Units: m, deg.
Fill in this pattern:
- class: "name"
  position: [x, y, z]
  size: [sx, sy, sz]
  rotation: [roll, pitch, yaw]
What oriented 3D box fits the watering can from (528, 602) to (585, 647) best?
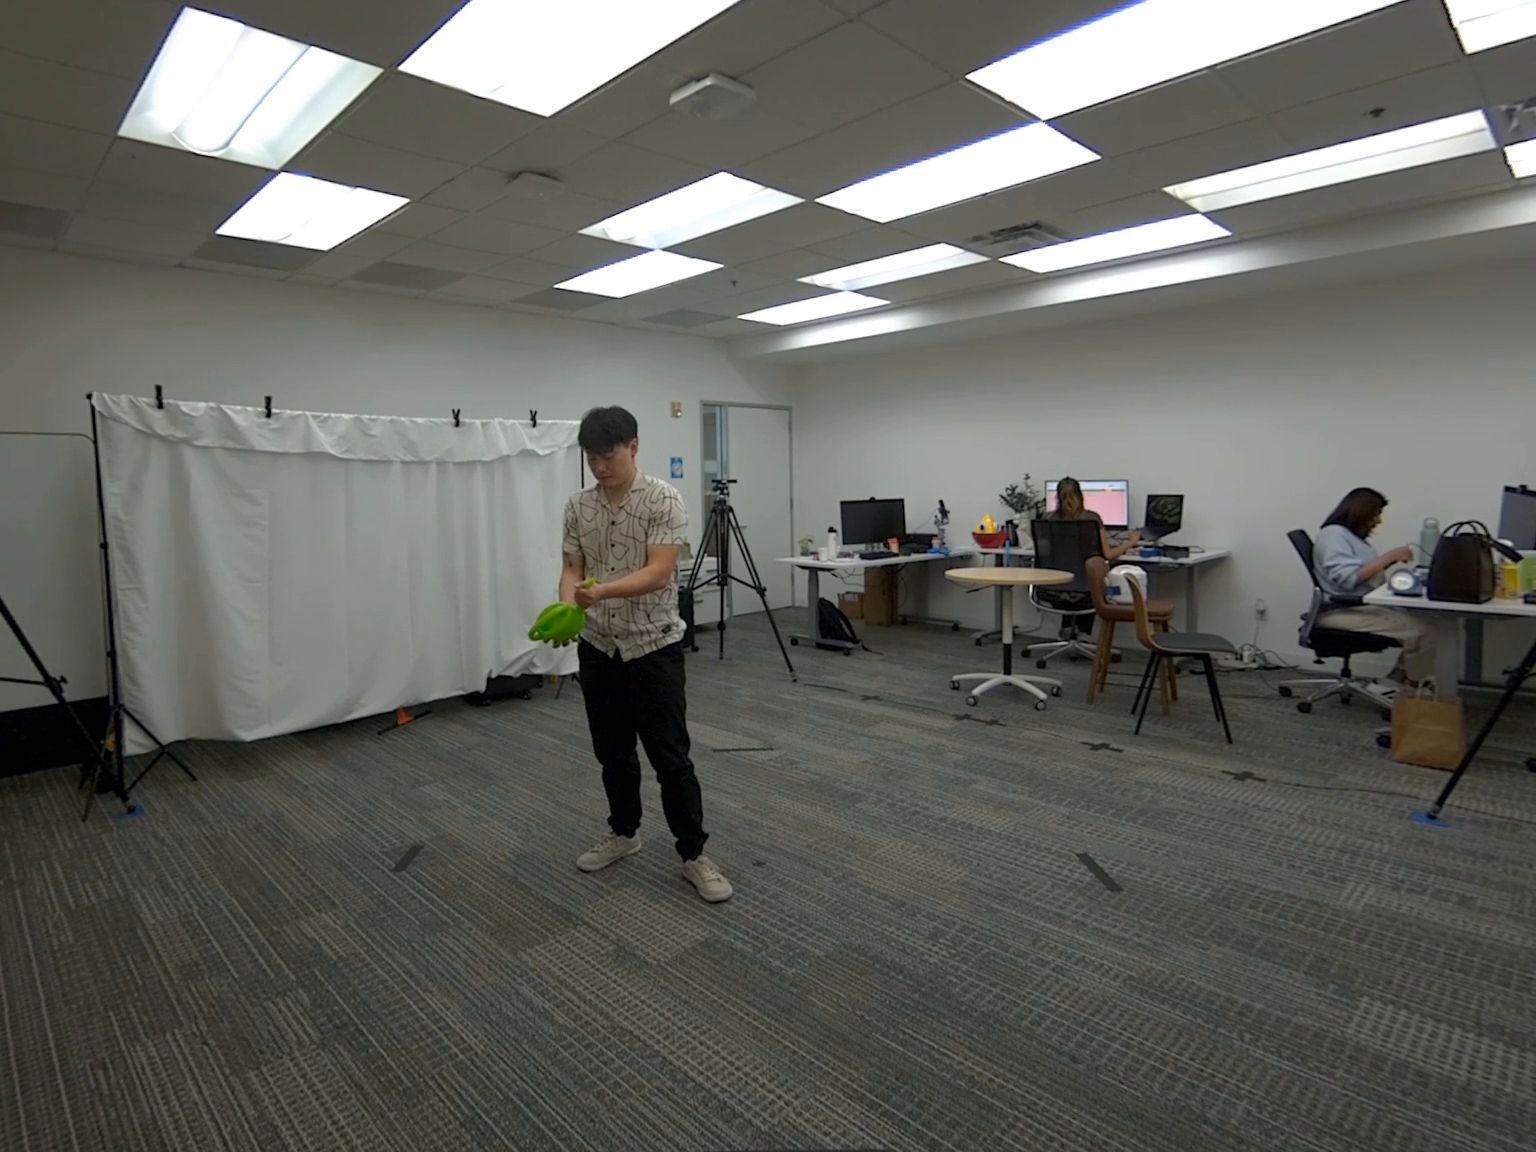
- class: "watering can"
  position: [-0.633, 0.124, 2.688]
  size: [0.278, 0.100, 0.173]
  rotation: [-29, -16, 2]
